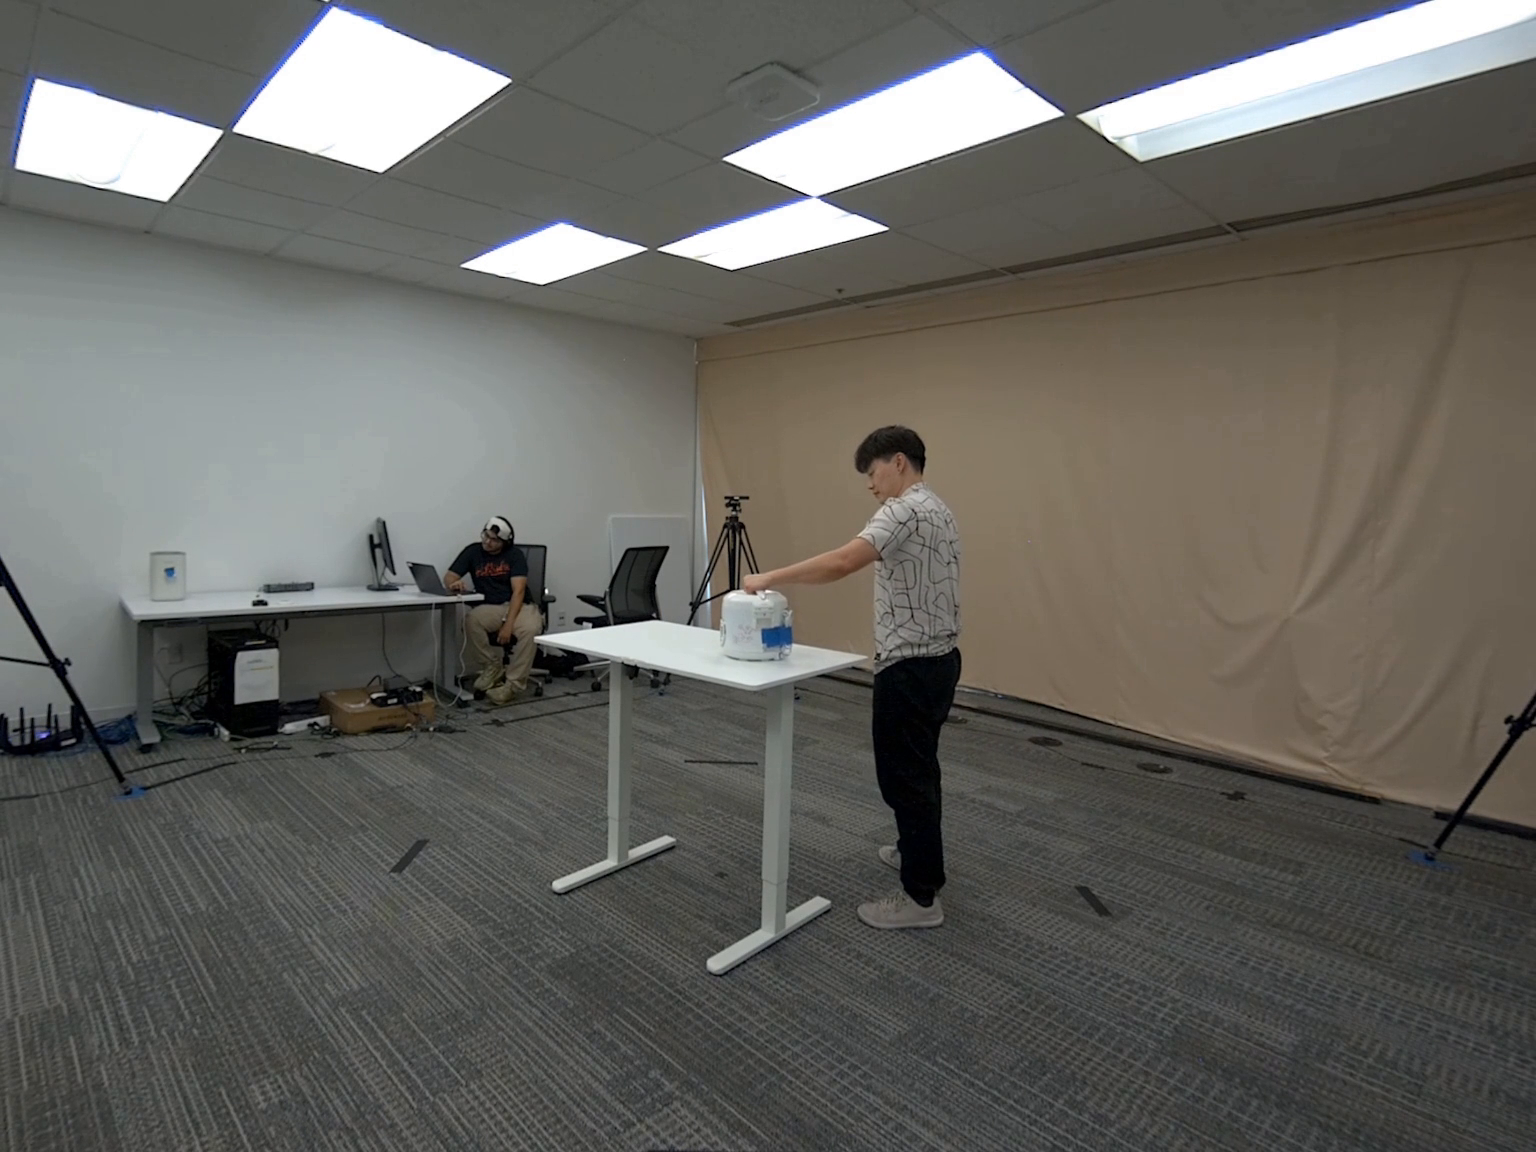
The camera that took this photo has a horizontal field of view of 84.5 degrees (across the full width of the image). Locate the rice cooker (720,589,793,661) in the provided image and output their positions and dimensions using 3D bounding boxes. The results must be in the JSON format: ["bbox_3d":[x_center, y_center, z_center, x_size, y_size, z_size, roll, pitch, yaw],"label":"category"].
[{"bbox_3d":[-0.048,0.145,2.703,0.215,0.232,0.224,2,4,-16],"label":"rice cooker"}]
